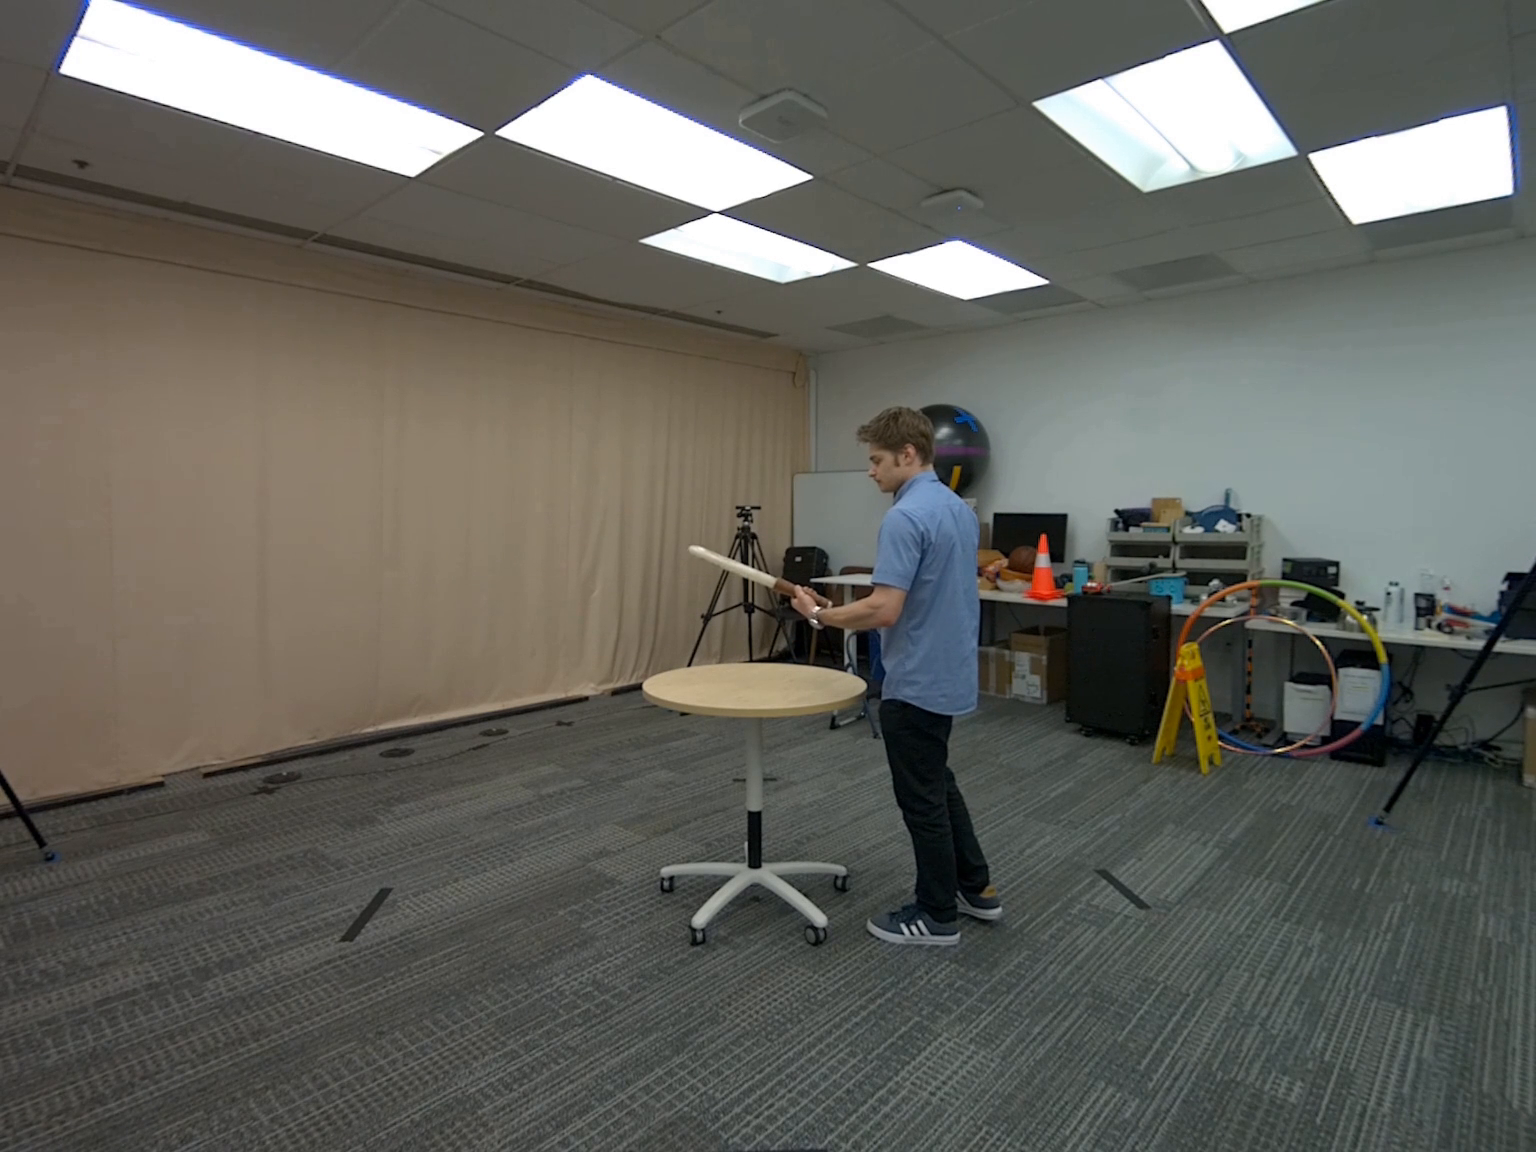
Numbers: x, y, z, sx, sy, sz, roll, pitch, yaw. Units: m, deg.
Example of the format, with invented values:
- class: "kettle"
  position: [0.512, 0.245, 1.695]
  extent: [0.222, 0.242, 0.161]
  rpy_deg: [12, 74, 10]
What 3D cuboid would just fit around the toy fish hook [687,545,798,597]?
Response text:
- class: "toy fish hook"
  position: [-0.015, 0.009, 2.791]
  extent: [0.510, 0.048, 0.223]
  rpy_deg: [24, 5, 5]
